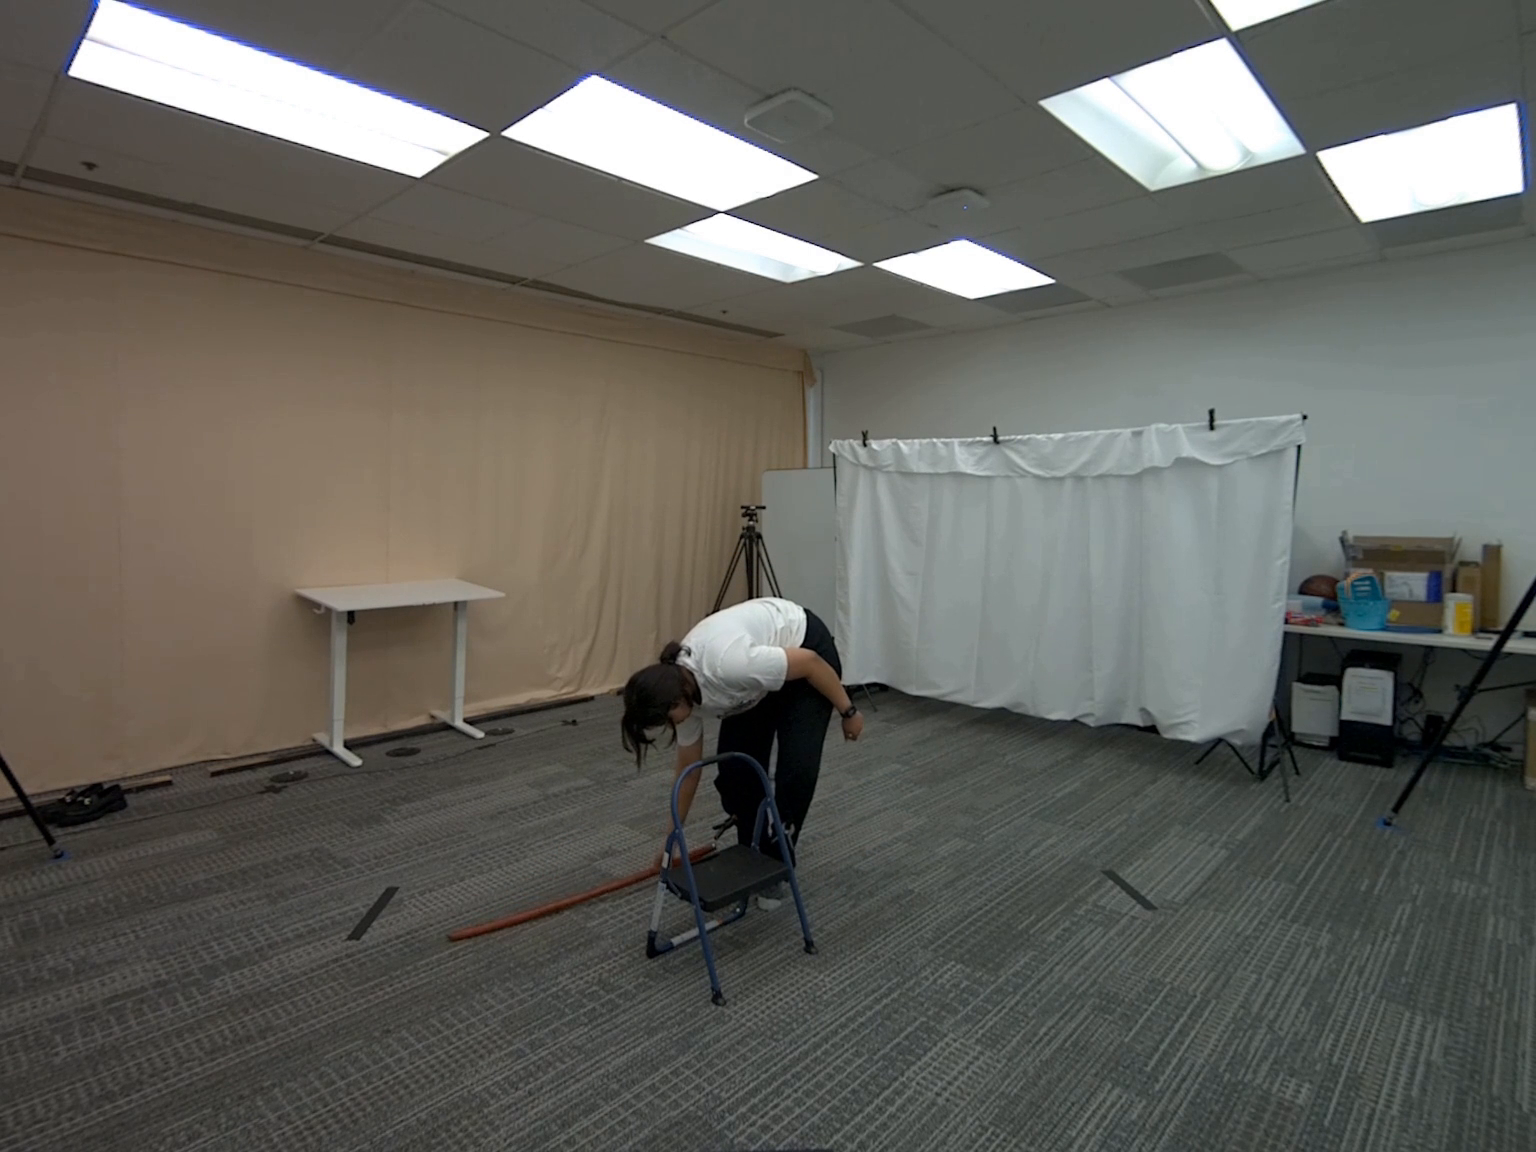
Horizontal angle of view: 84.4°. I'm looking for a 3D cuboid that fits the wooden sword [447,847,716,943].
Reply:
[{"bbox_3d":[-0.611,1.125,2.960,0.997,0.025,0.051,-6,-37,-32],"label":"wooden sword"}]
